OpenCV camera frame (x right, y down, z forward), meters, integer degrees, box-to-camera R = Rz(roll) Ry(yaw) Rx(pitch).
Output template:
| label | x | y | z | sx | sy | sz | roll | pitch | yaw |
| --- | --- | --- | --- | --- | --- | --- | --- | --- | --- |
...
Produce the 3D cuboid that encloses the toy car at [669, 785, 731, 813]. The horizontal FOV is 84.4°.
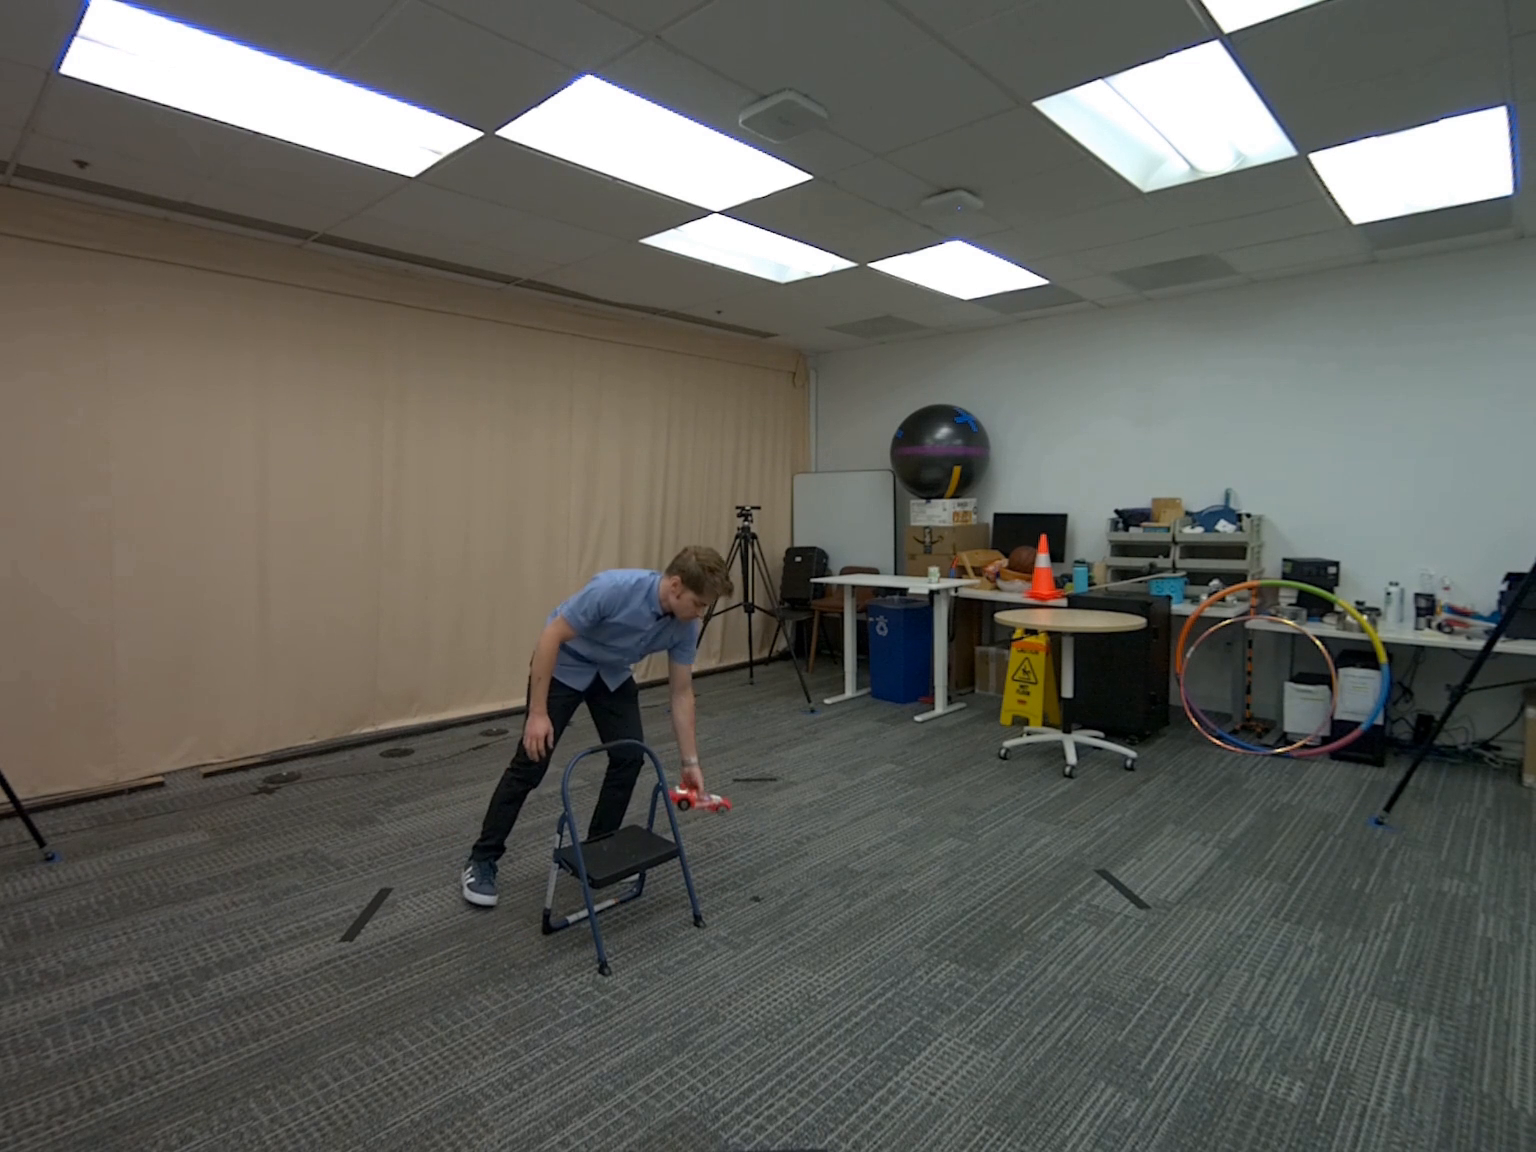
| label | x | y | z | sx | sy | sz | roll | pitch | yaw |
| --- | --- | --- | --- | --- | --- | --- | --- | --- | --- |
| toy car | -0.259 | 0.858 | 3.118 | 0.251 | 0.083 | 0.132 | 9 | -2 | -11 |
